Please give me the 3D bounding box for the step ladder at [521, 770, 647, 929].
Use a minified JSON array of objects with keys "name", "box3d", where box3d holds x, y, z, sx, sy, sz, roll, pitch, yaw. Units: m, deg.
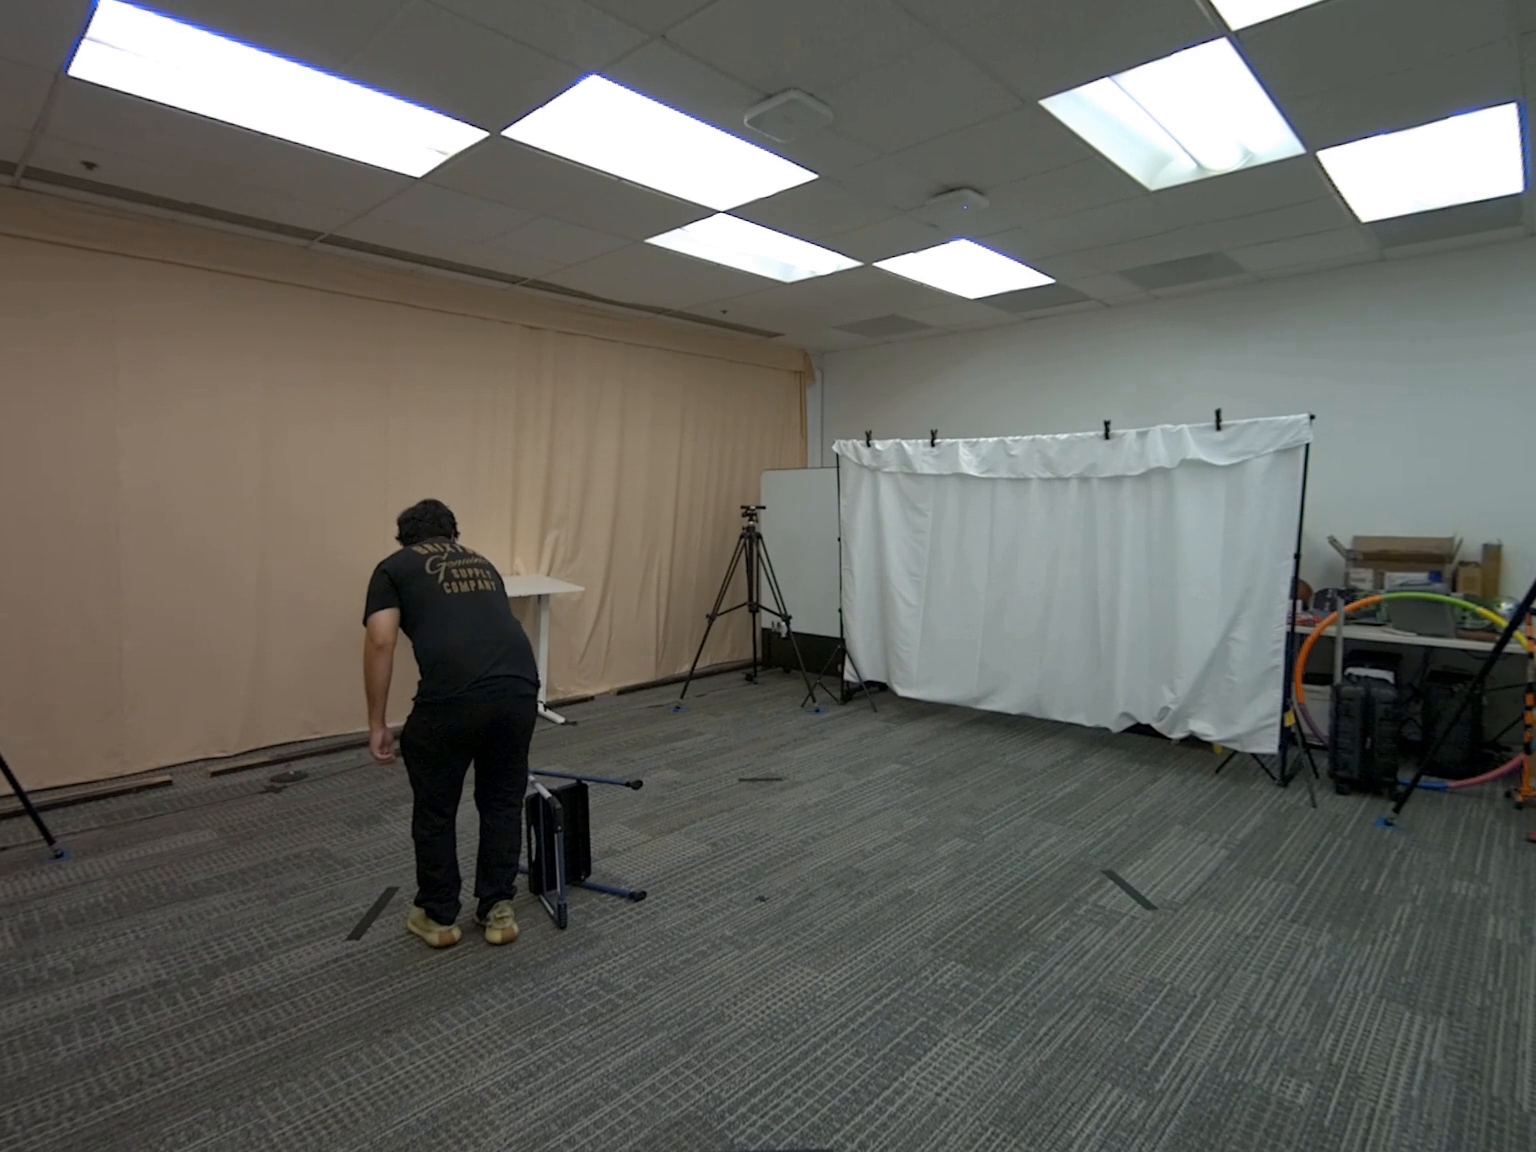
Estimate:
[{"name":"step ladder","box3d":[-0.772,0.935,3.084,0.338,0.430,0.626,-2,2,-44]}]
